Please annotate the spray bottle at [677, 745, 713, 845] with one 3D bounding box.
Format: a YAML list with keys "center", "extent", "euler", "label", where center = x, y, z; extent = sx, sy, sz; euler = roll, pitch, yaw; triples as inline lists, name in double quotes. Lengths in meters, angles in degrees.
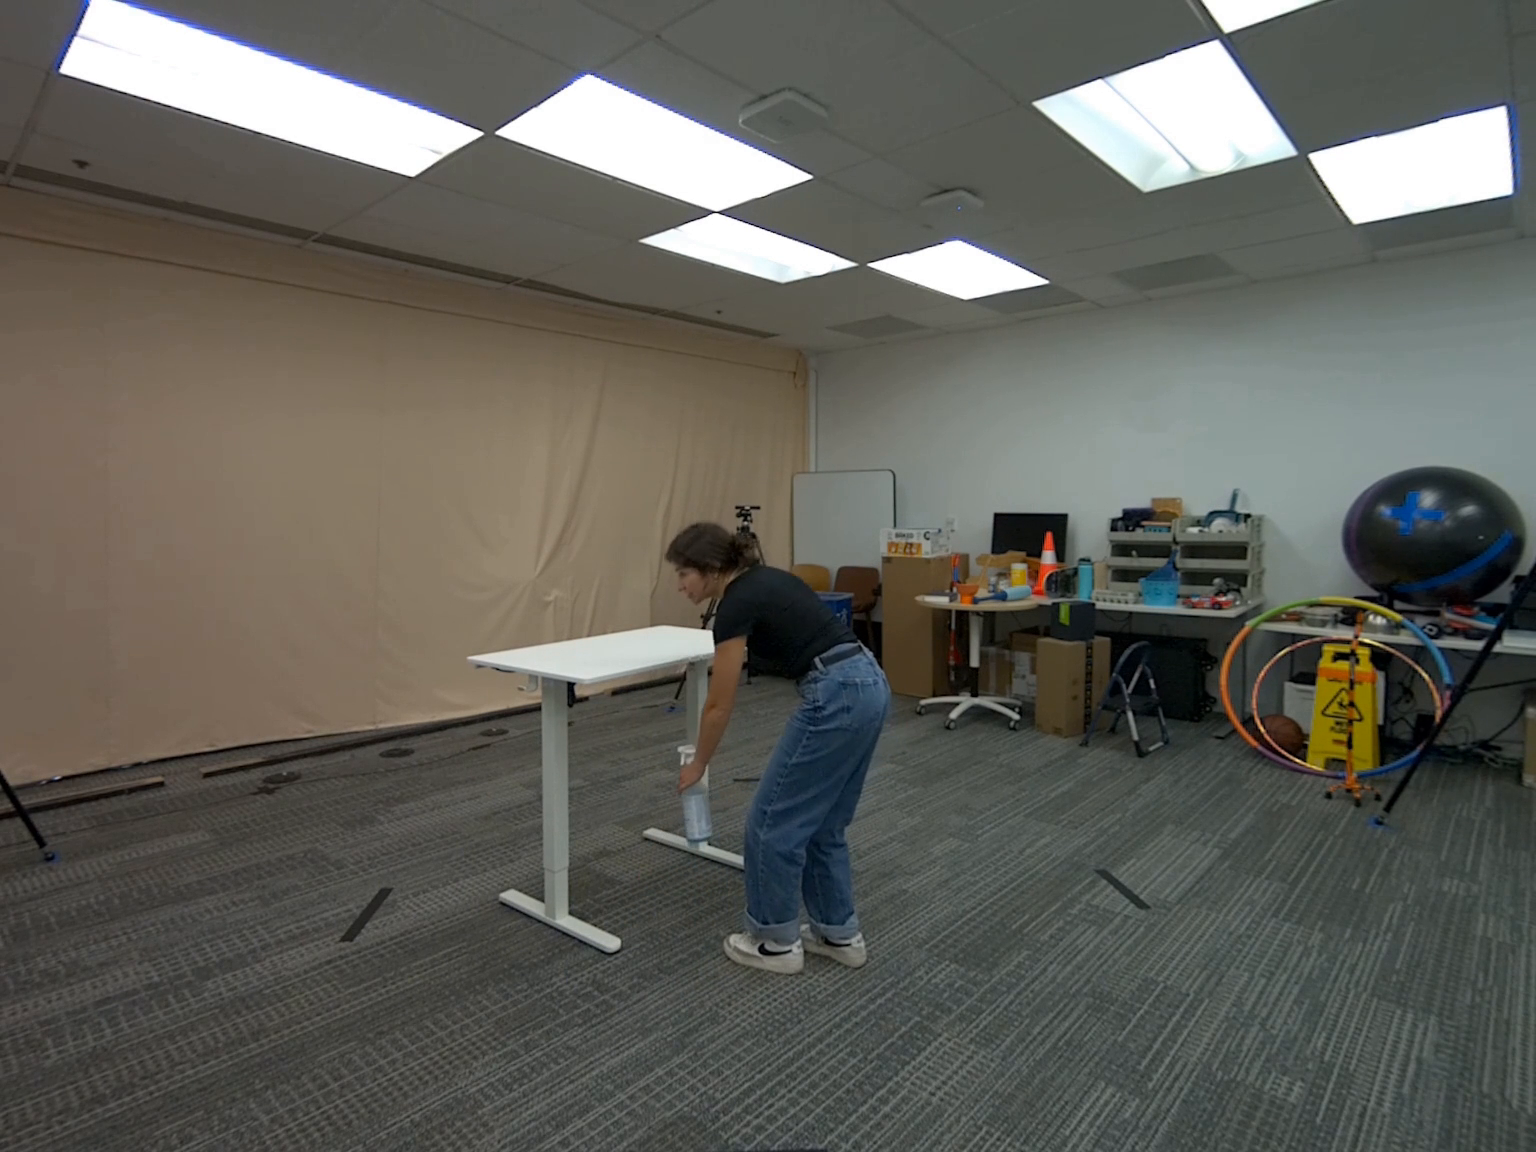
- center: [-0.226, 0.693, 2.666]
  extent: [0.087, 0.298, 0.089]
  euler: [-4, -6, -33]
  label: "spray bottle"
